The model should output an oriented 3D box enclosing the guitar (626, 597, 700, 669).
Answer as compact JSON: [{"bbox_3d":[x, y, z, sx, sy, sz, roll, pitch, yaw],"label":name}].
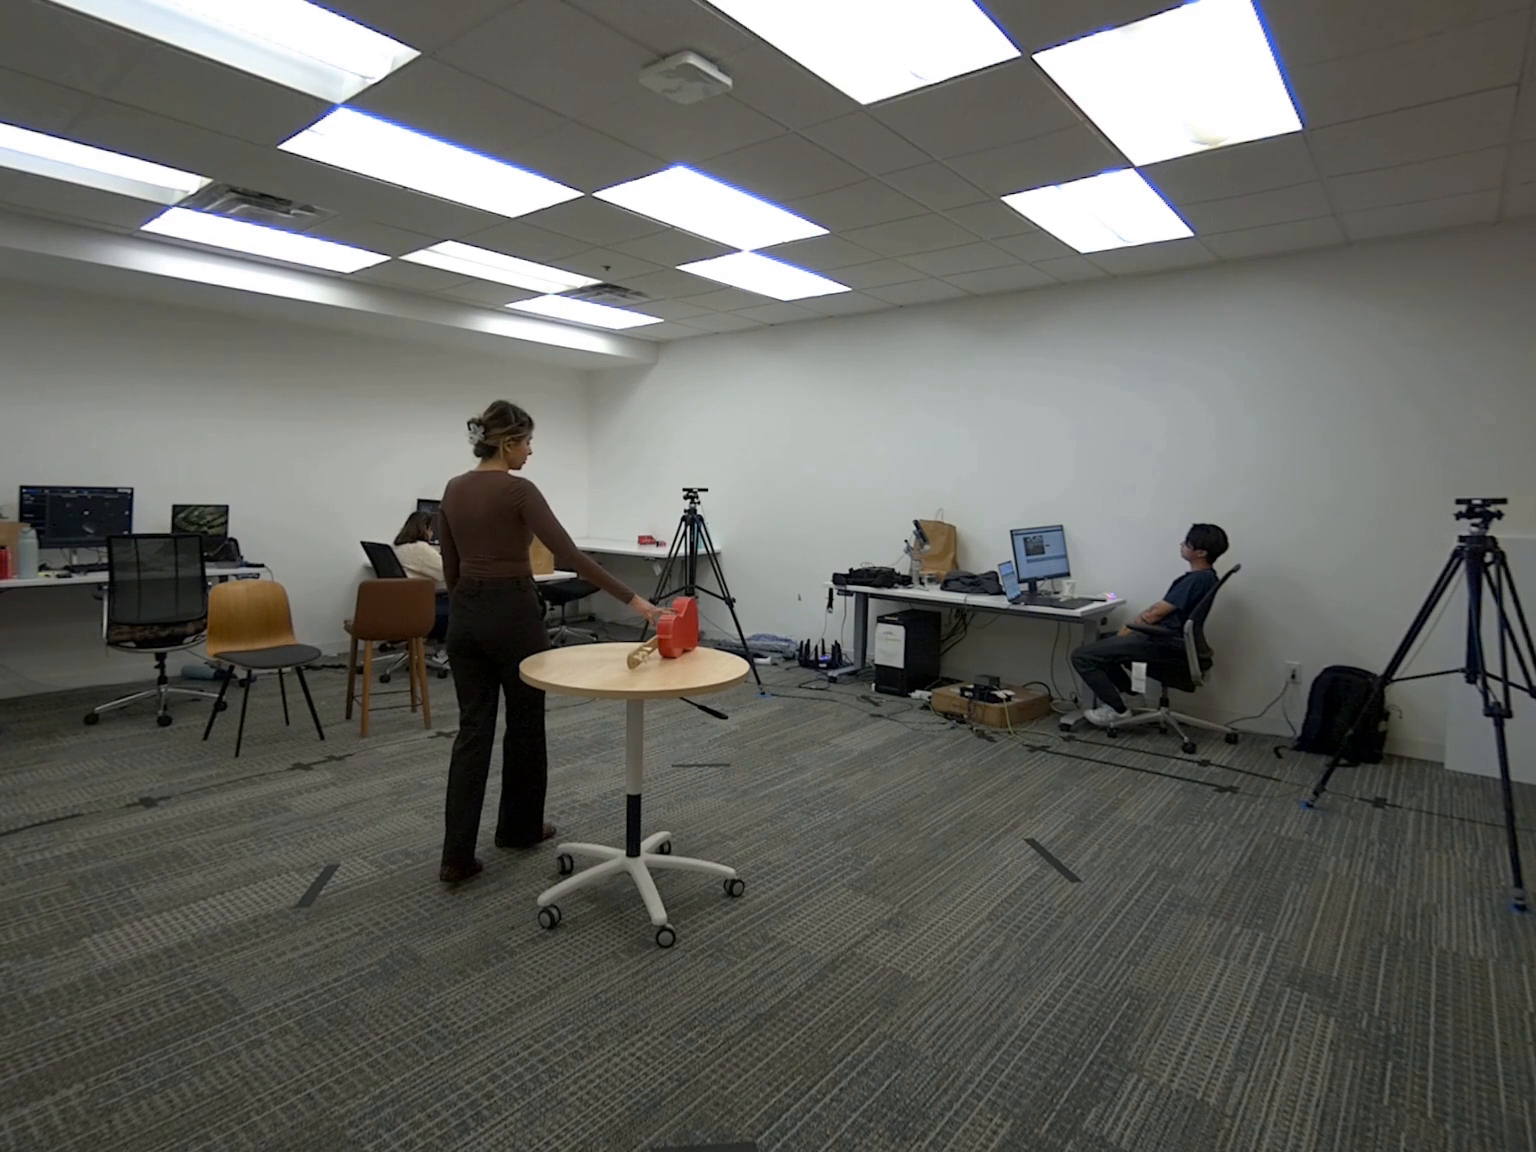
[{"bbox_3d":[-0.366,0.244,2.950,0.072,0.189,0.499,3,23,16],"label":"guitar"}]
